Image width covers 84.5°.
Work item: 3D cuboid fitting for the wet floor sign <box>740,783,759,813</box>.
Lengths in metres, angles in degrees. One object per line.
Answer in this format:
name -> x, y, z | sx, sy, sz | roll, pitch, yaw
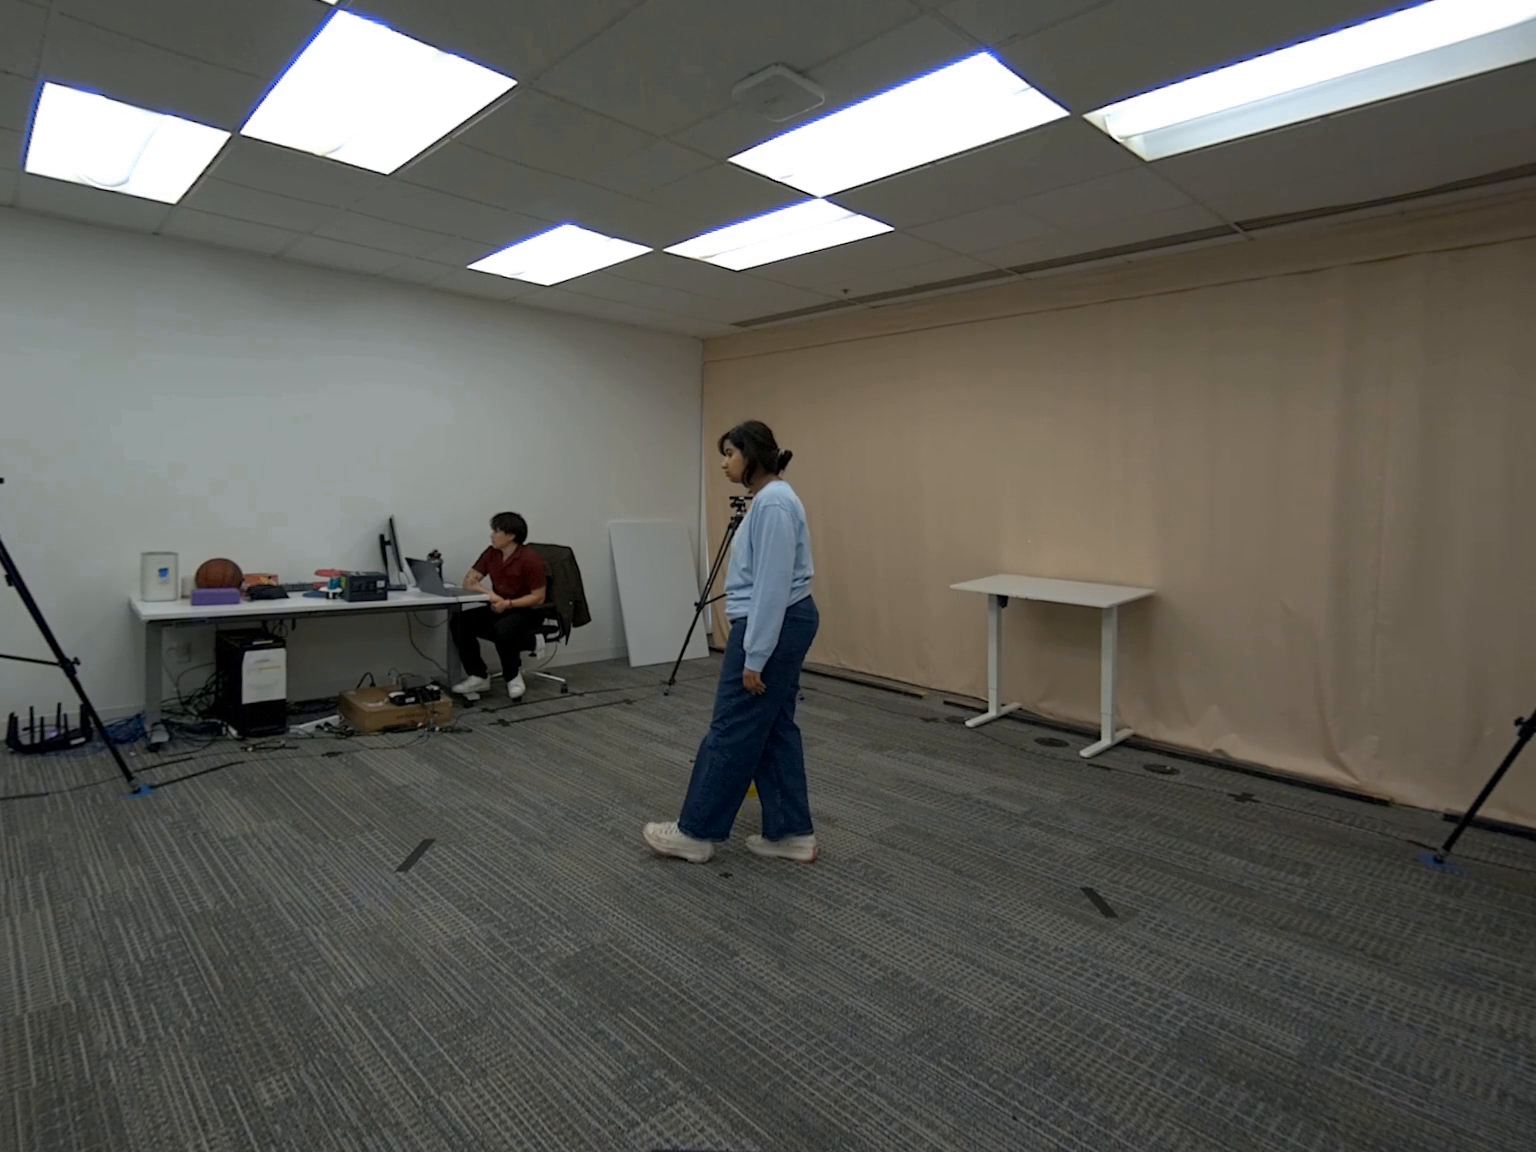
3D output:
wet floor sign -> -0.078, 0.666, 3.588 | 0.281, 0.644, 0.292 | -1, 5, -5
